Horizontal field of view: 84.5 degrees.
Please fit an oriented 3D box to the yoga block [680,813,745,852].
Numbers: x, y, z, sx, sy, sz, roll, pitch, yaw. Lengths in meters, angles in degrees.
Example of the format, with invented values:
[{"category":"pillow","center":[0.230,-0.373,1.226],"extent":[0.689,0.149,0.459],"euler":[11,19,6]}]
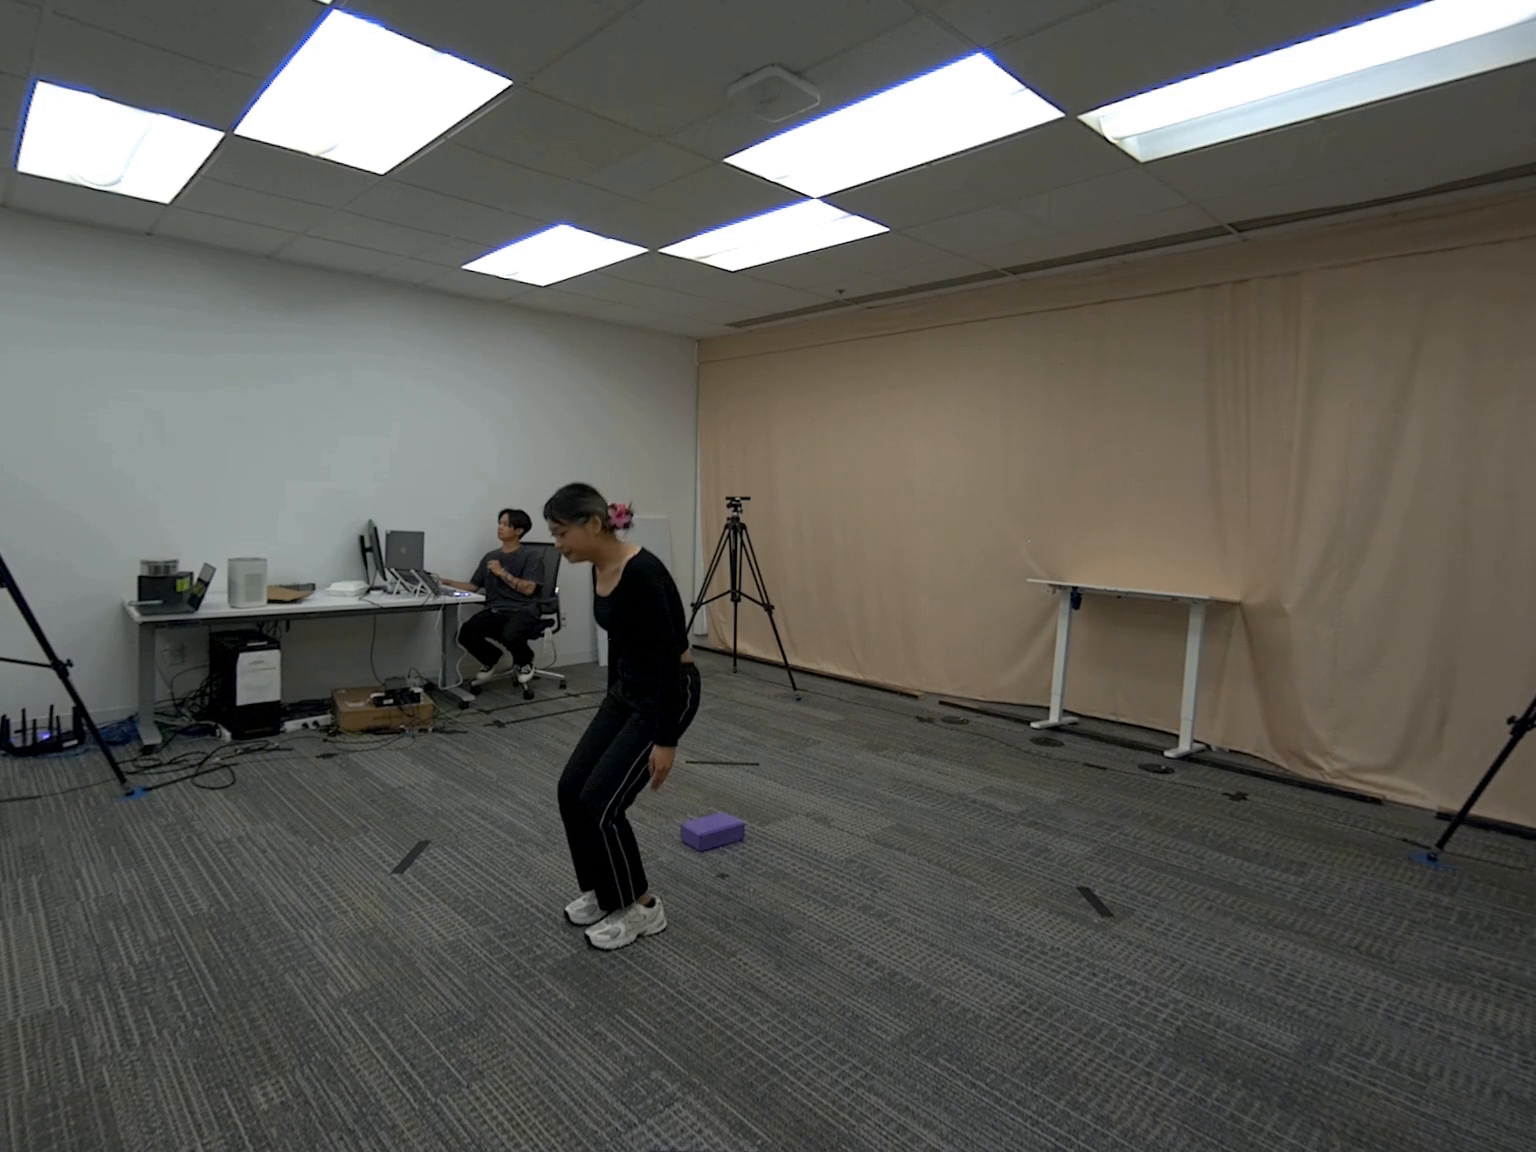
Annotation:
[{"category":"yoga block","center":[-0.233,1.039,3.422],"extent":[0.224,0.076,0.153],"euler":[-3,6,-40]}]
